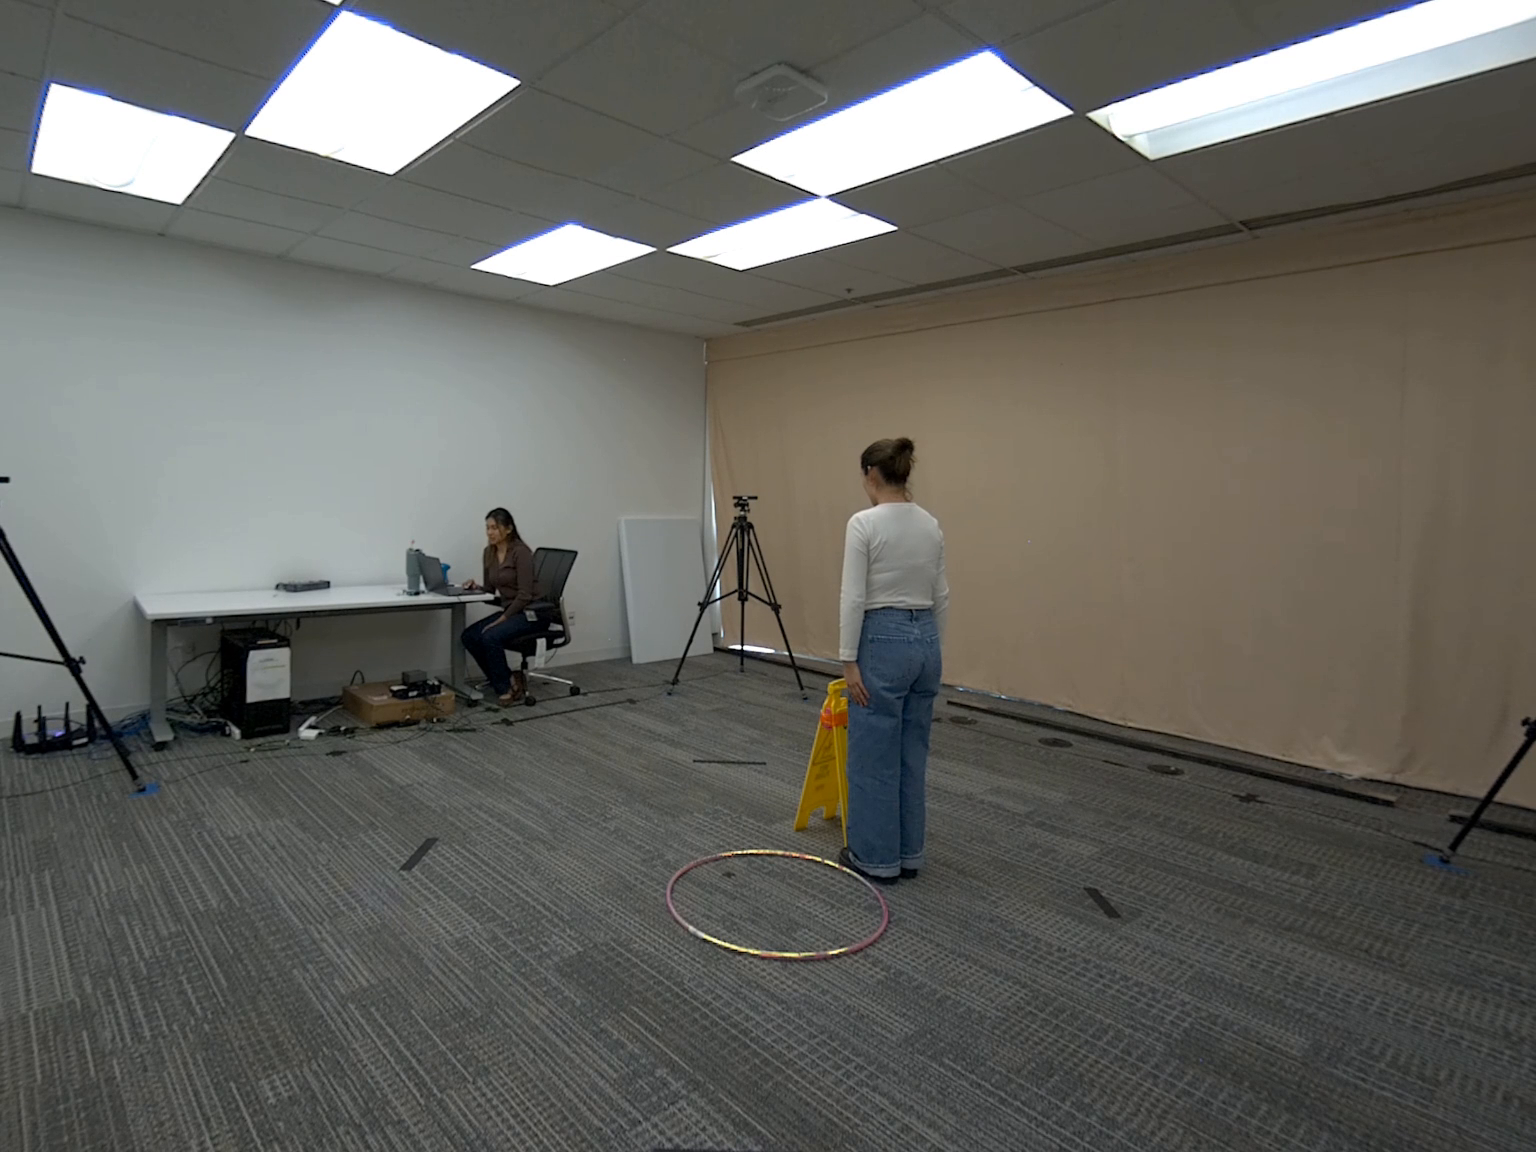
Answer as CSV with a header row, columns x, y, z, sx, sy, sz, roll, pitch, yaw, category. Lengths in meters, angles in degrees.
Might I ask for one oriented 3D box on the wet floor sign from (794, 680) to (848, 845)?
x,y,z,sx,sy,sz,roll,pitch,yaw,category
0.301,0.751,3.517,0.297,0.645,0.275,4,3,43,wet floor sign
